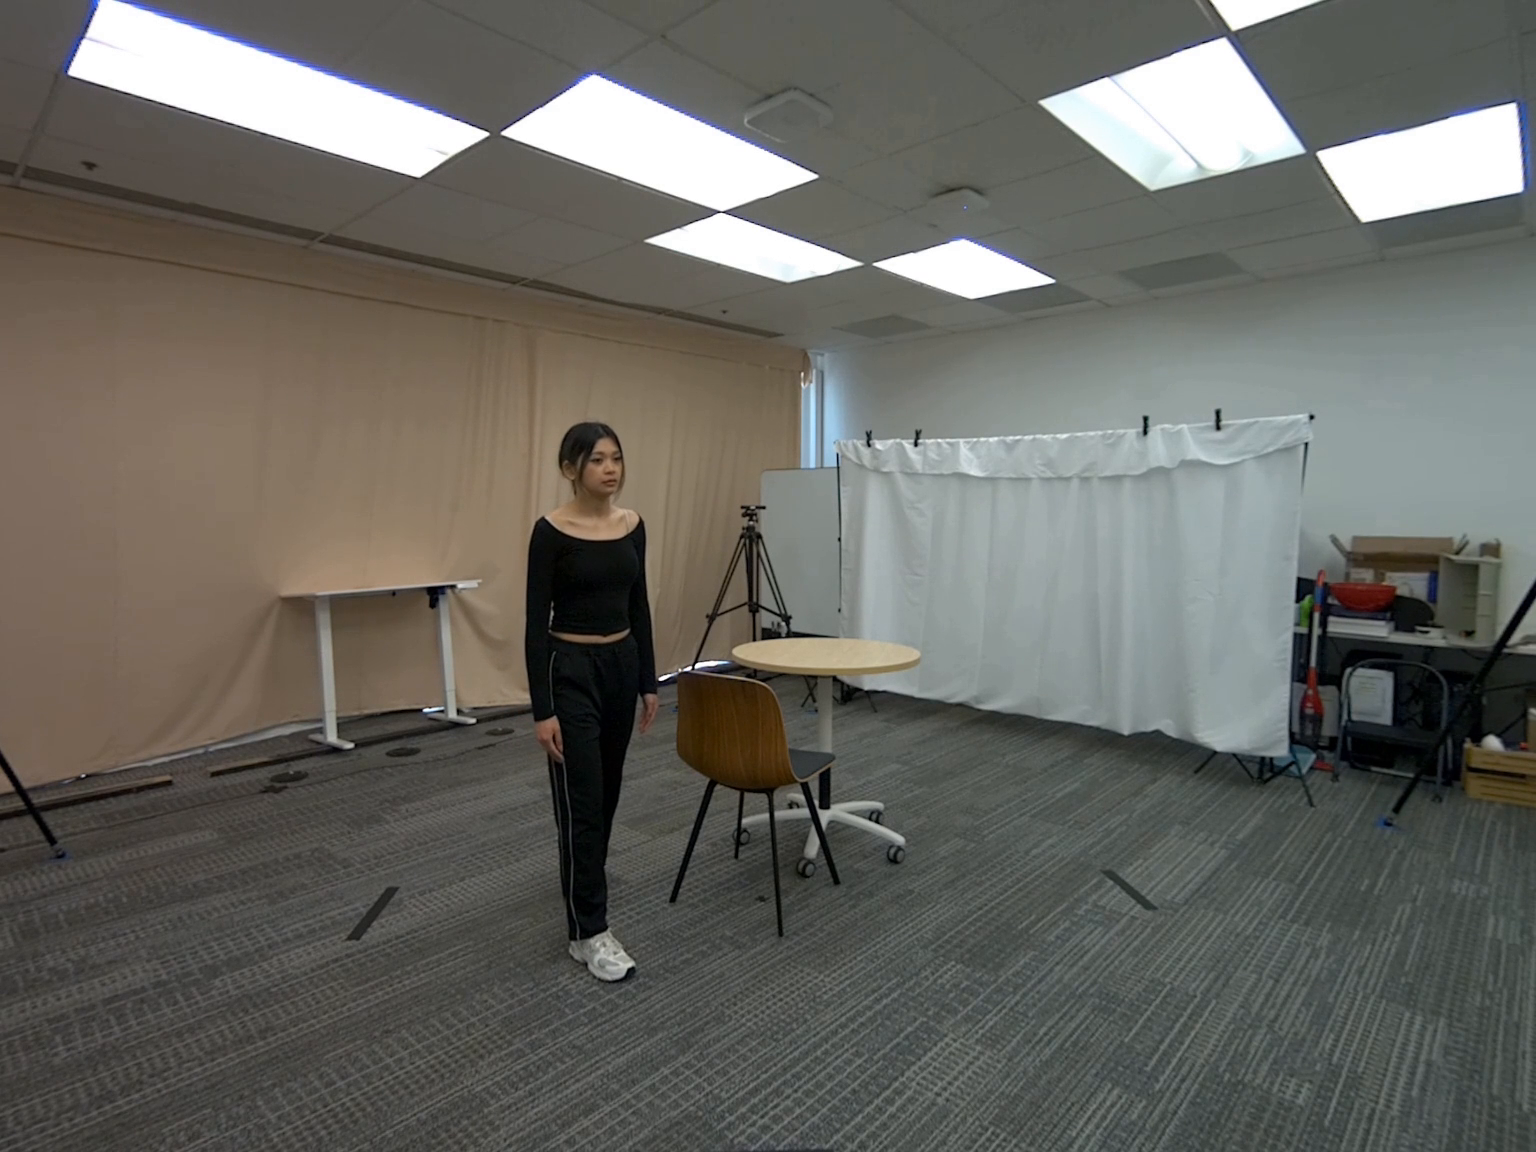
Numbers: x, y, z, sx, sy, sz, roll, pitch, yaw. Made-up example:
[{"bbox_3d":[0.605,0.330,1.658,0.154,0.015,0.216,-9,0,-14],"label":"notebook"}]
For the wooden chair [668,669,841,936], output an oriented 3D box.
[{"bbox_3d":[-0.038,0.714,3.002,0.492,0.873,0.510,2,9,32],"label":"wooden chair"}]
